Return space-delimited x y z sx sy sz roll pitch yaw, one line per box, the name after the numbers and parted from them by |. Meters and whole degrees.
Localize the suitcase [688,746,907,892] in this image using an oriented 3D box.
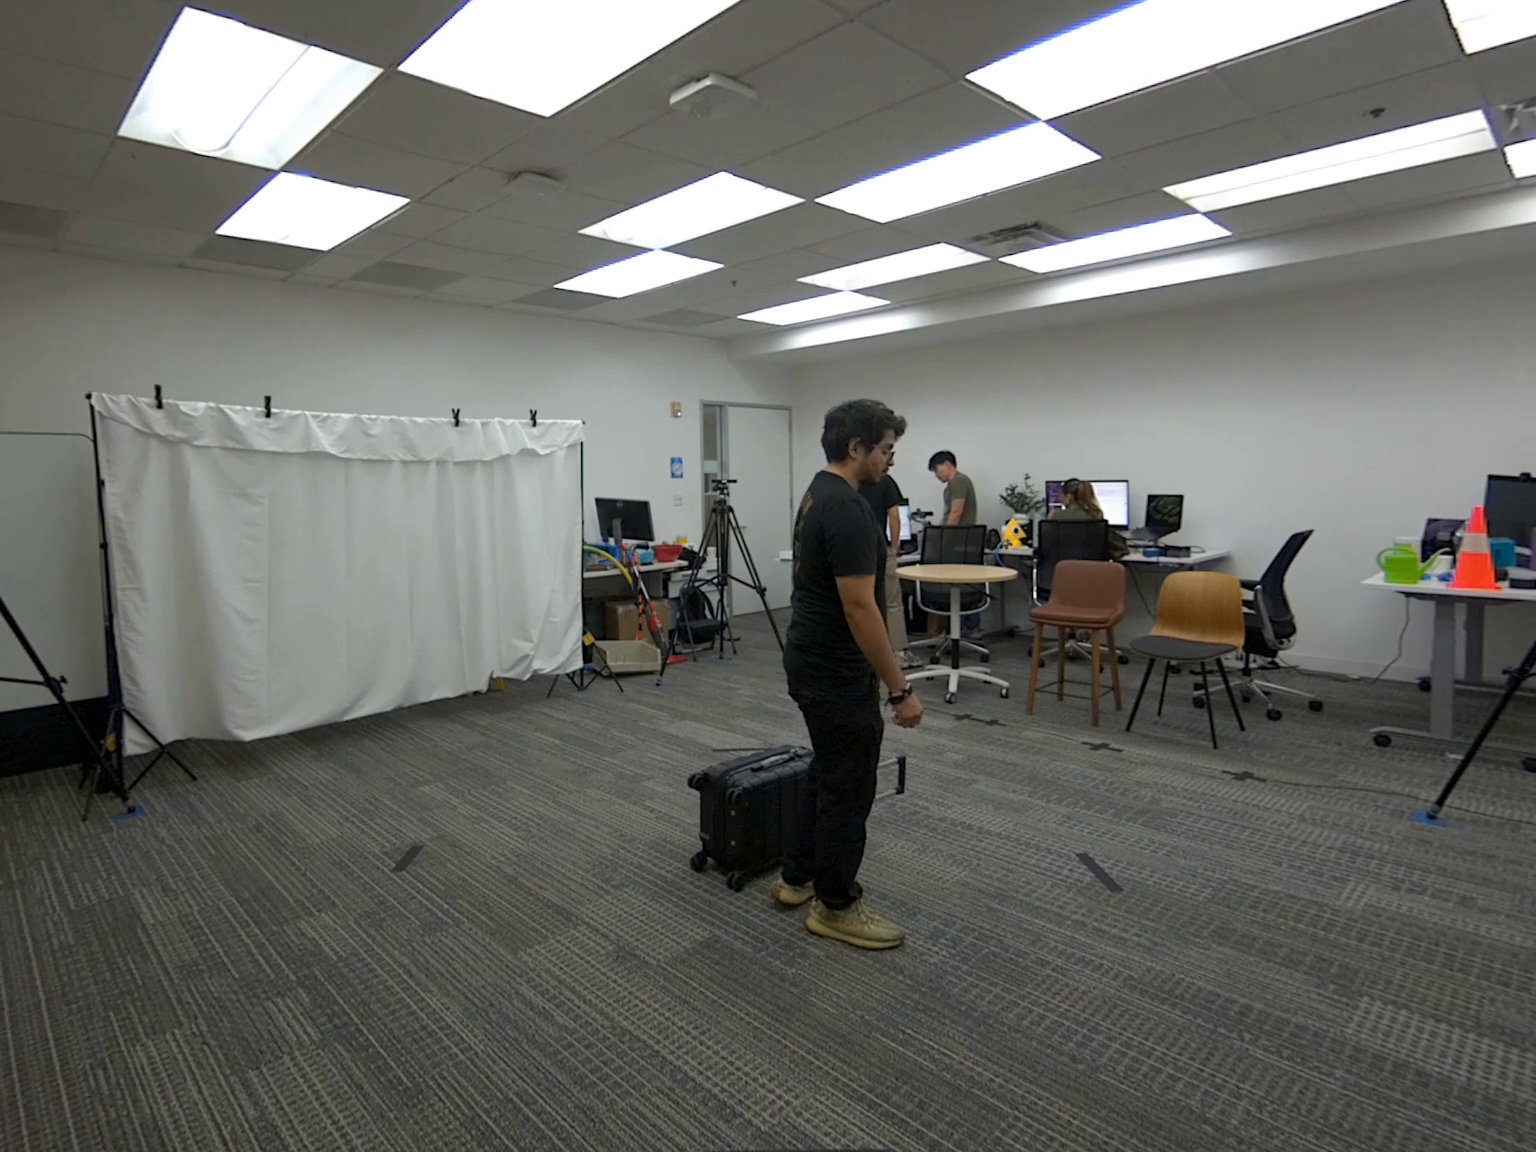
0.136 0.836 3.298 0.953 0.382 0.265 -6 7 -44 | suitcase
